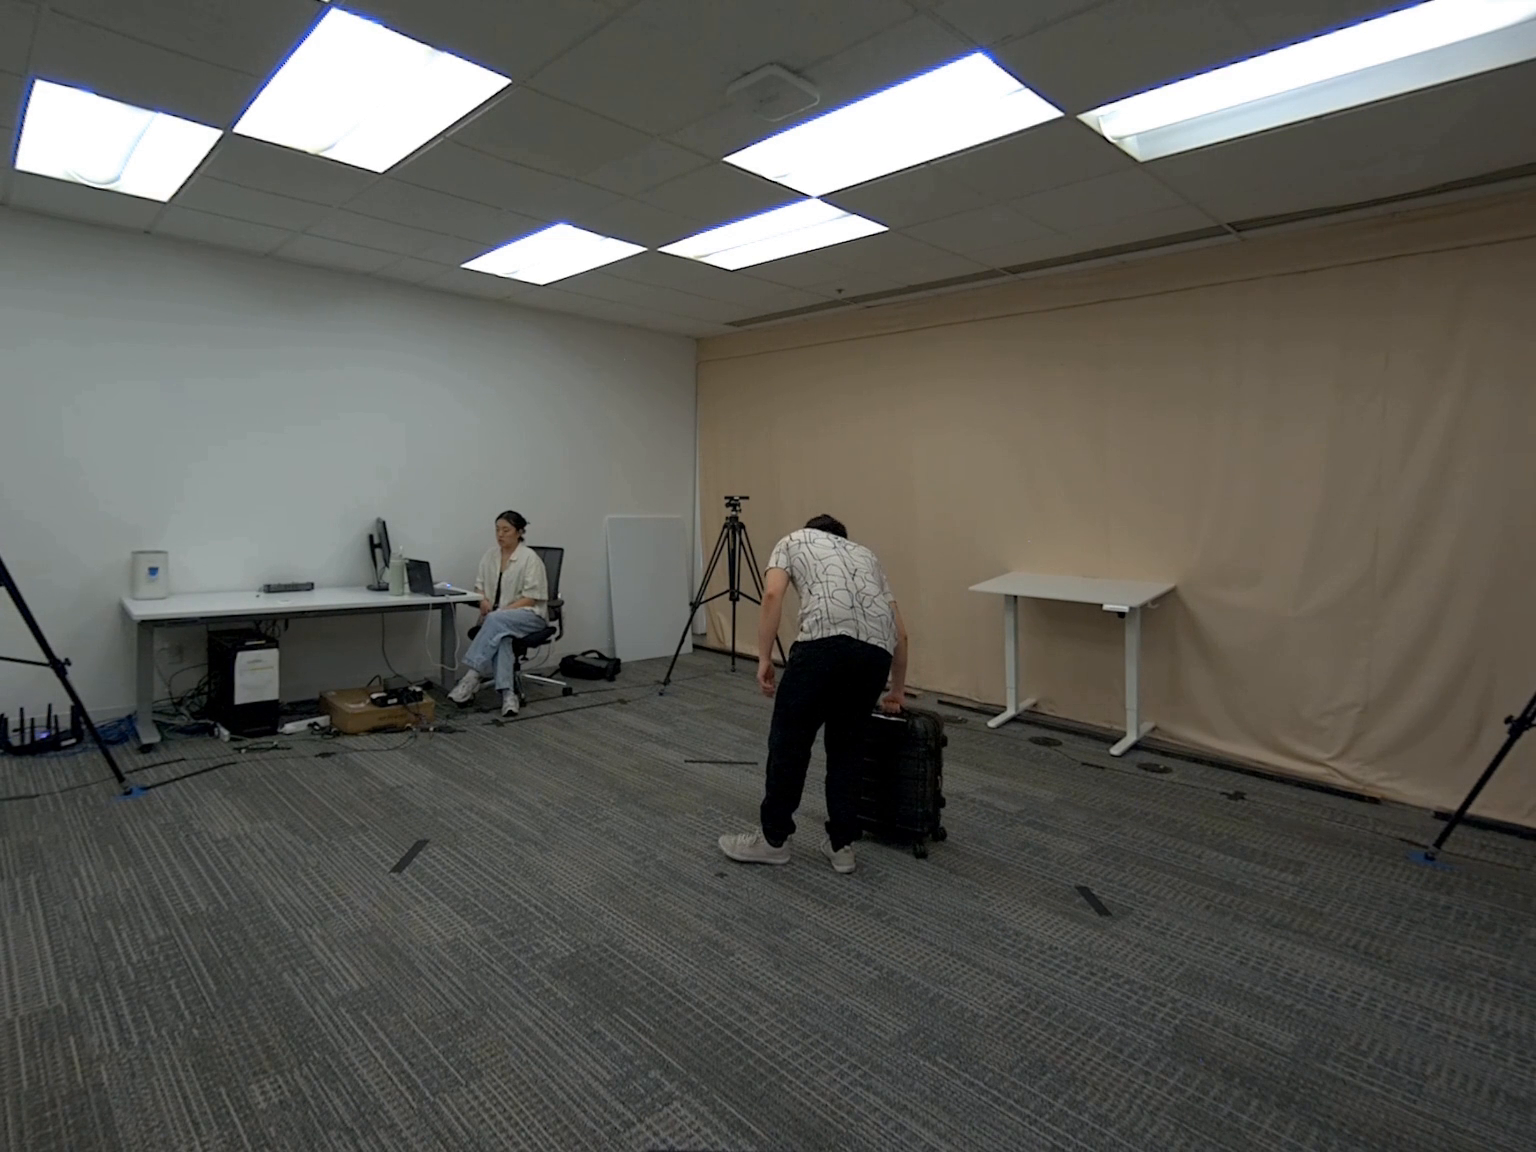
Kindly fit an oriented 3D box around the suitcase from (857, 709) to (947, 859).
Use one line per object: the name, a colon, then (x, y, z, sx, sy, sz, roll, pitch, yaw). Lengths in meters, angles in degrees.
suitcase: (0.522, 0.812, 3.480, 0.384, 0.548, 0.243, 3, 3, 33)
